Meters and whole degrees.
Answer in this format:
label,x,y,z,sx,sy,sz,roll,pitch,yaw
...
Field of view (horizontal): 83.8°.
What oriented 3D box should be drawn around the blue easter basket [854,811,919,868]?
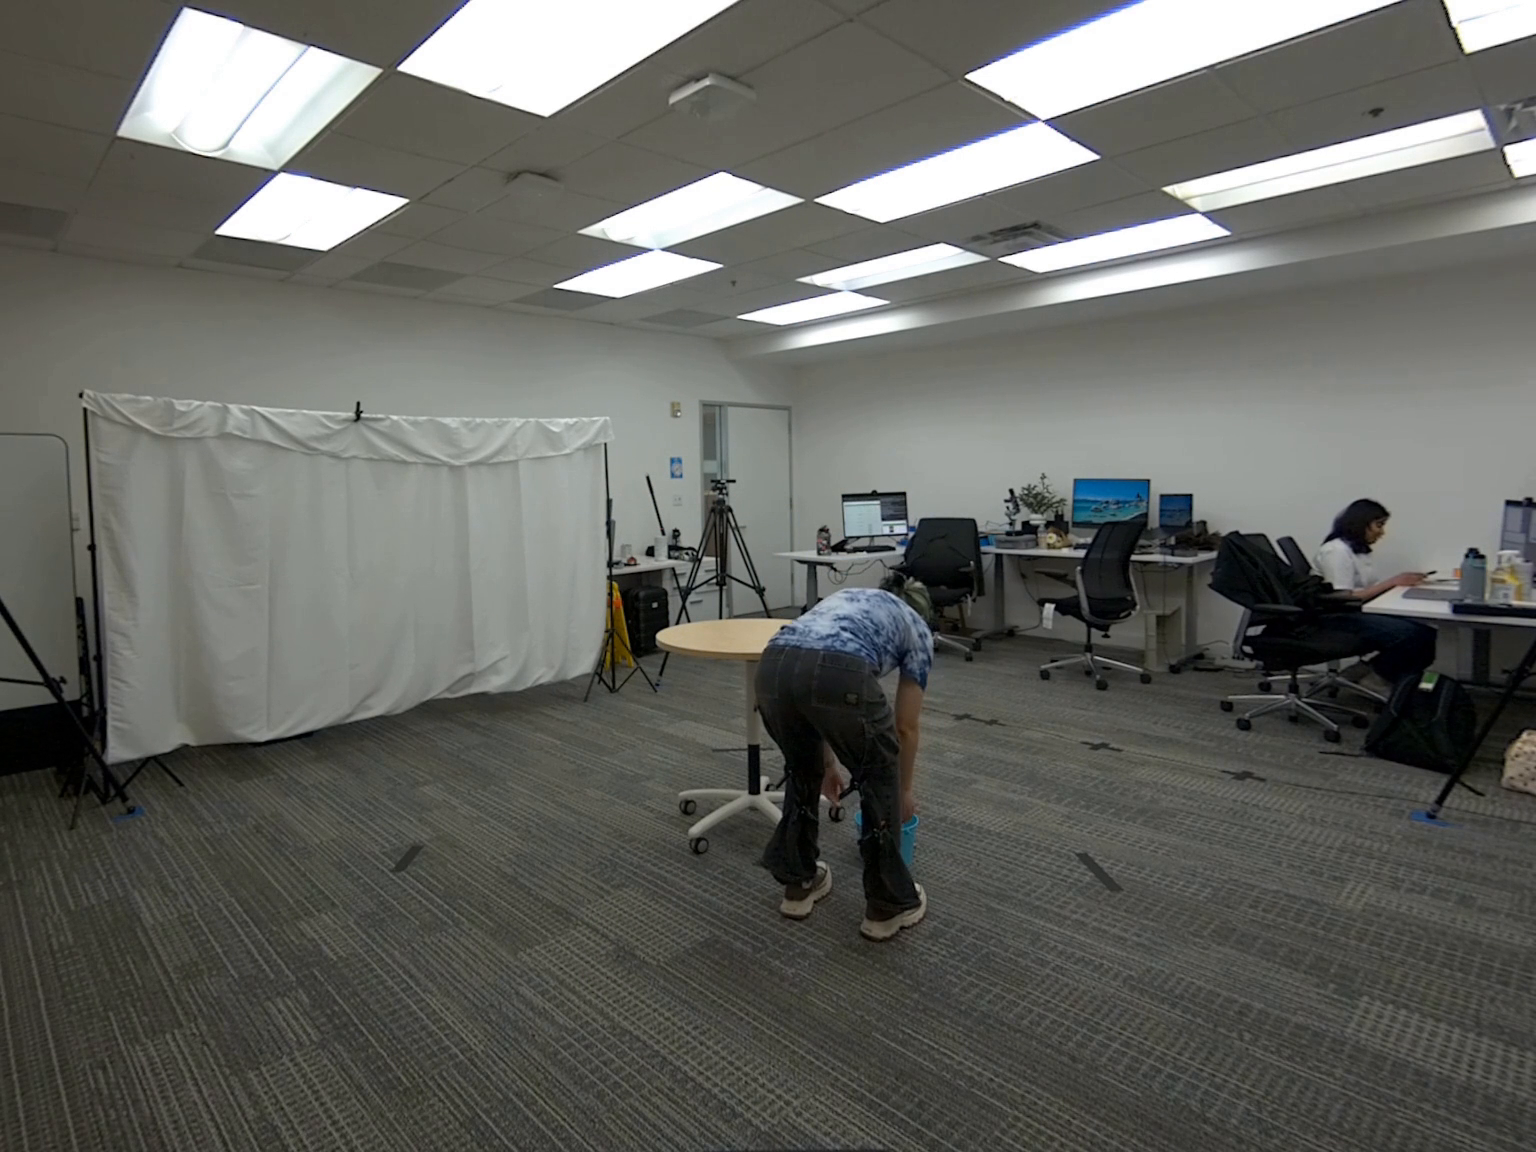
label,x,y,z,sx,sy,sz,roll,pitch,yaw
blue easter basket,0.443,0.959,3.121,0.243,0.155,0.245,-1,5,-2
